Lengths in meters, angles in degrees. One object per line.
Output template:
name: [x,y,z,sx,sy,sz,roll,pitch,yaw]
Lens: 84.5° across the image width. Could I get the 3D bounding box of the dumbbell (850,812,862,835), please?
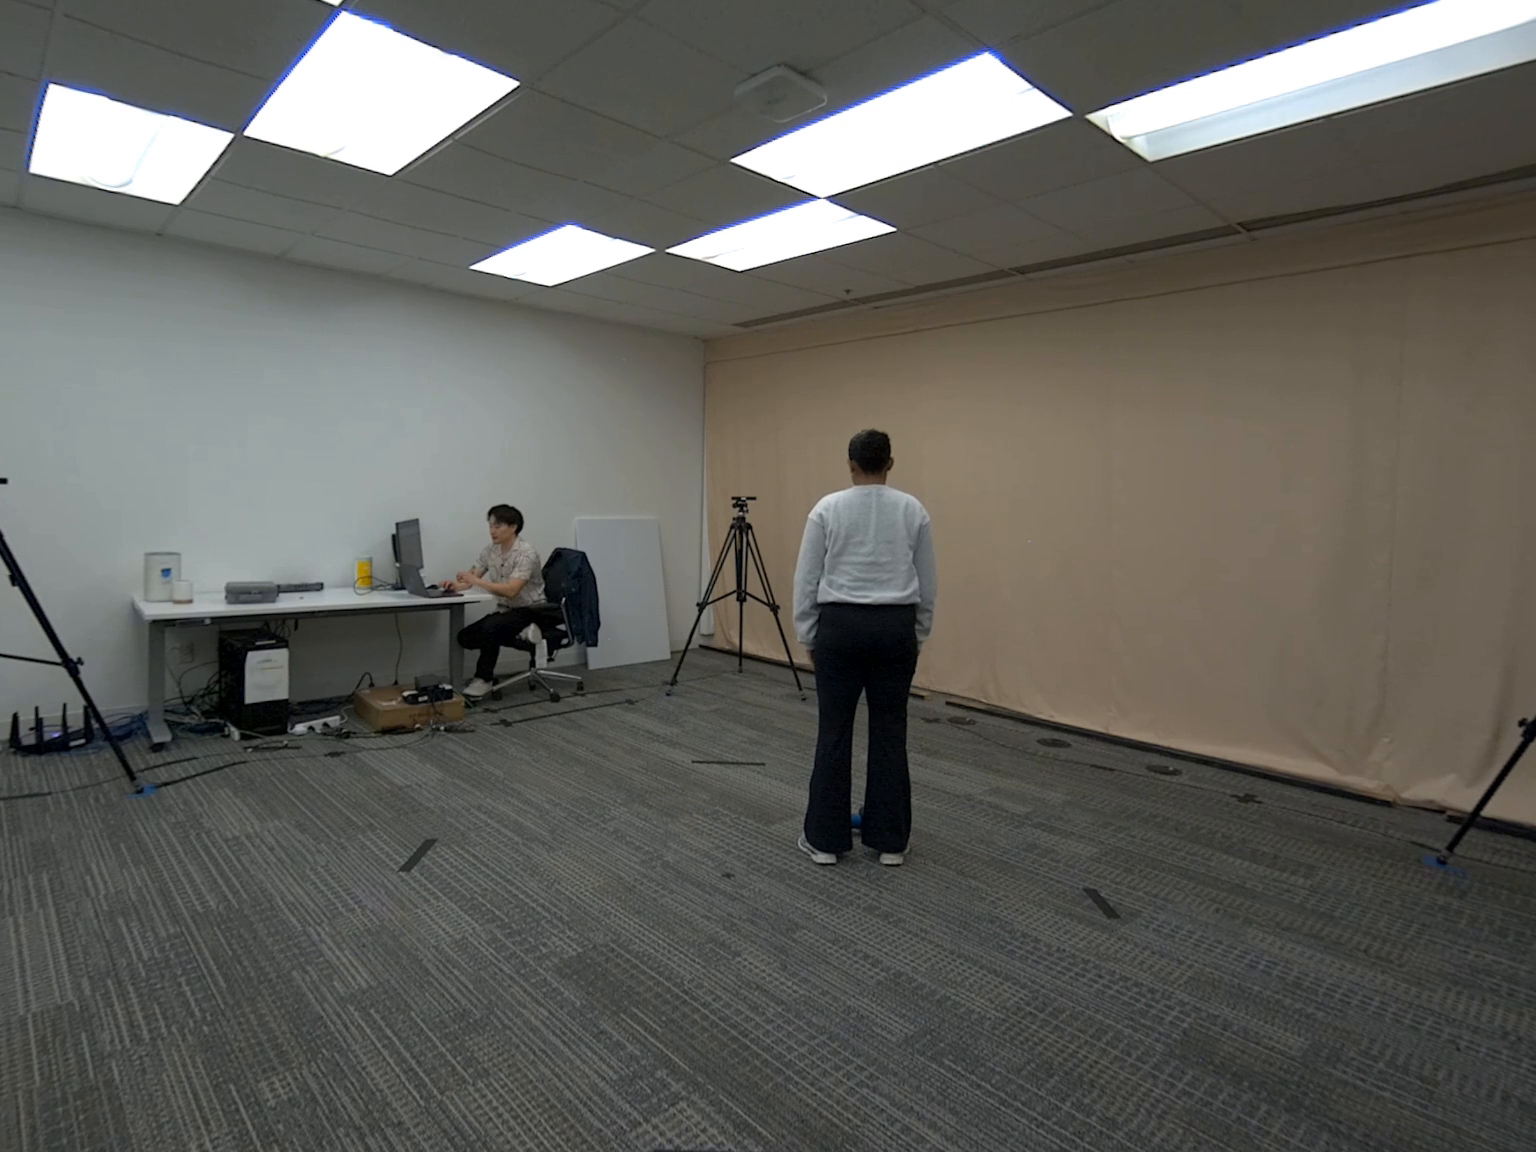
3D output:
dumbbell: [0.322,1.033,3.518,0.292,0.121,0.111,1,34,-7]
